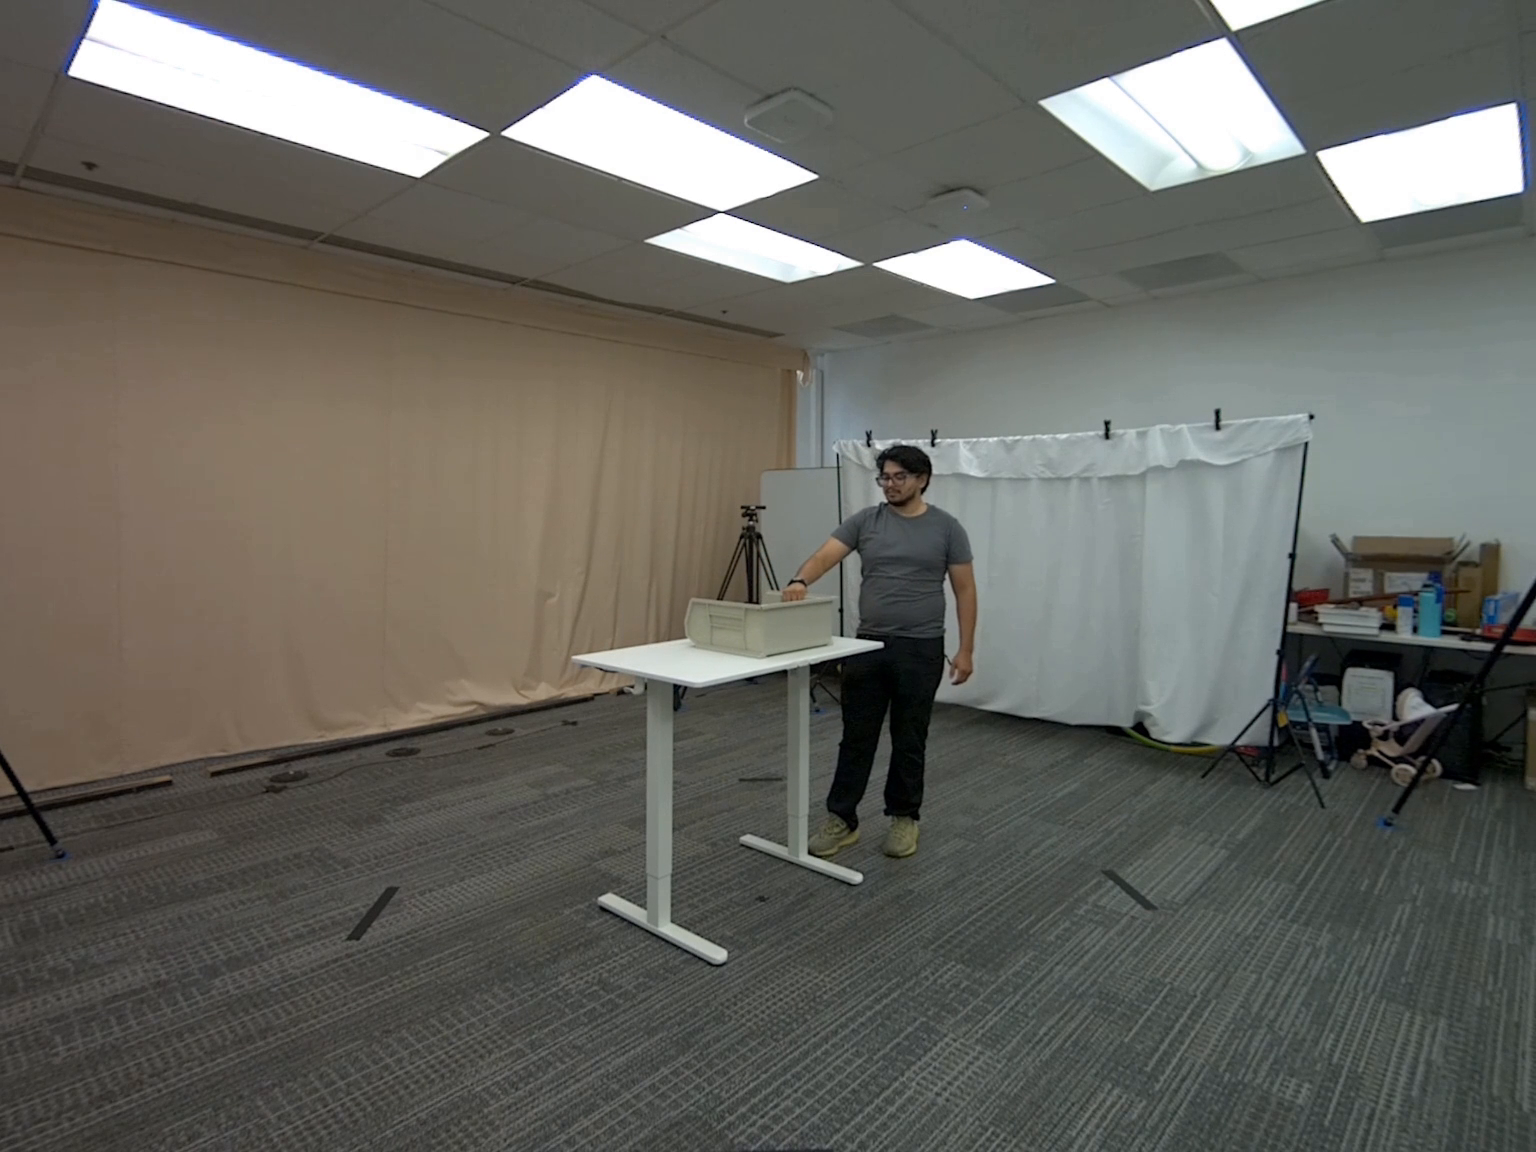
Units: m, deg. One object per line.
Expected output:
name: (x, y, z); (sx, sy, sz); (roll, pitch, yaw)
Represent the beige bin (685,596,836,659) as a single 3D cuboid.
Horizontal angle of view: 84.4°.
beige bin: (-0.023, 0.165, 3.057); (0.390, 0.188, 0.409); (6, 7, 42)
